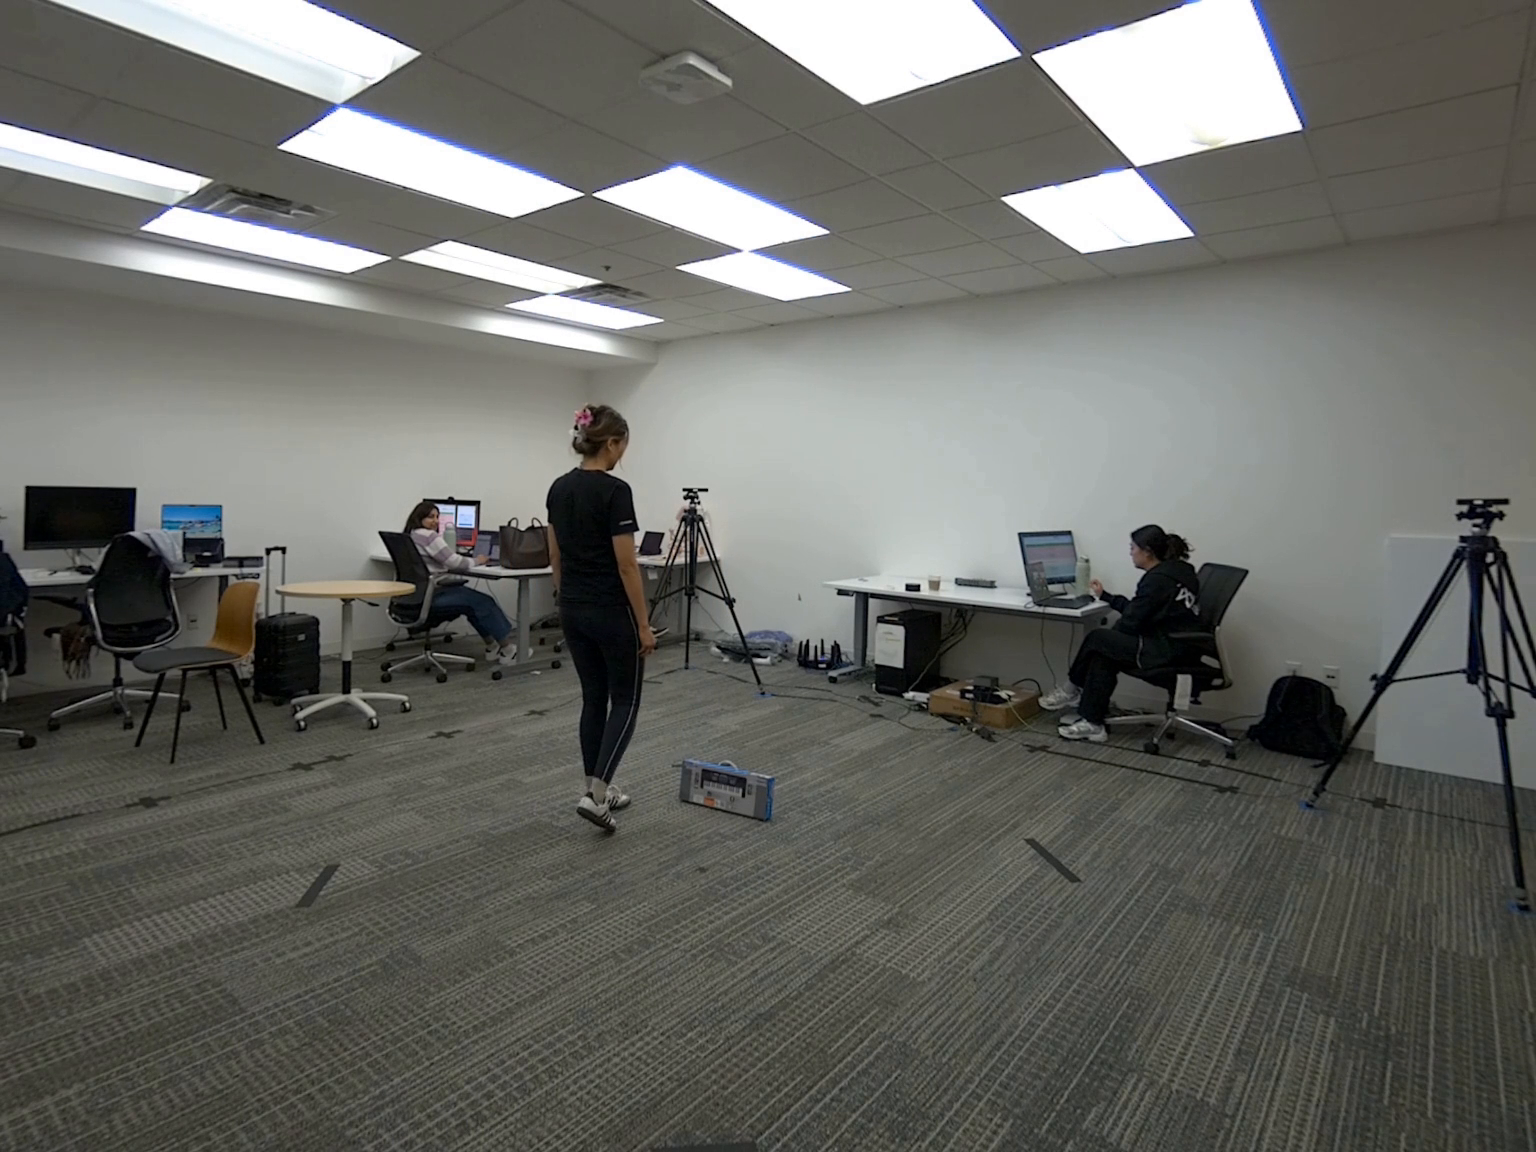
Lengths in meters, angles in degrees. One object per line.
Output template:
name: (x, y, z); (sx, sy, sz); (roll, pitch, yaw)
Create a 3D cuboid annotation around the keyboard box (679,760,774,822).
keyboard box: (-0.194, 0.926, 3.708); (0.449, 0.177, 0.057); (4, -5, 29)
